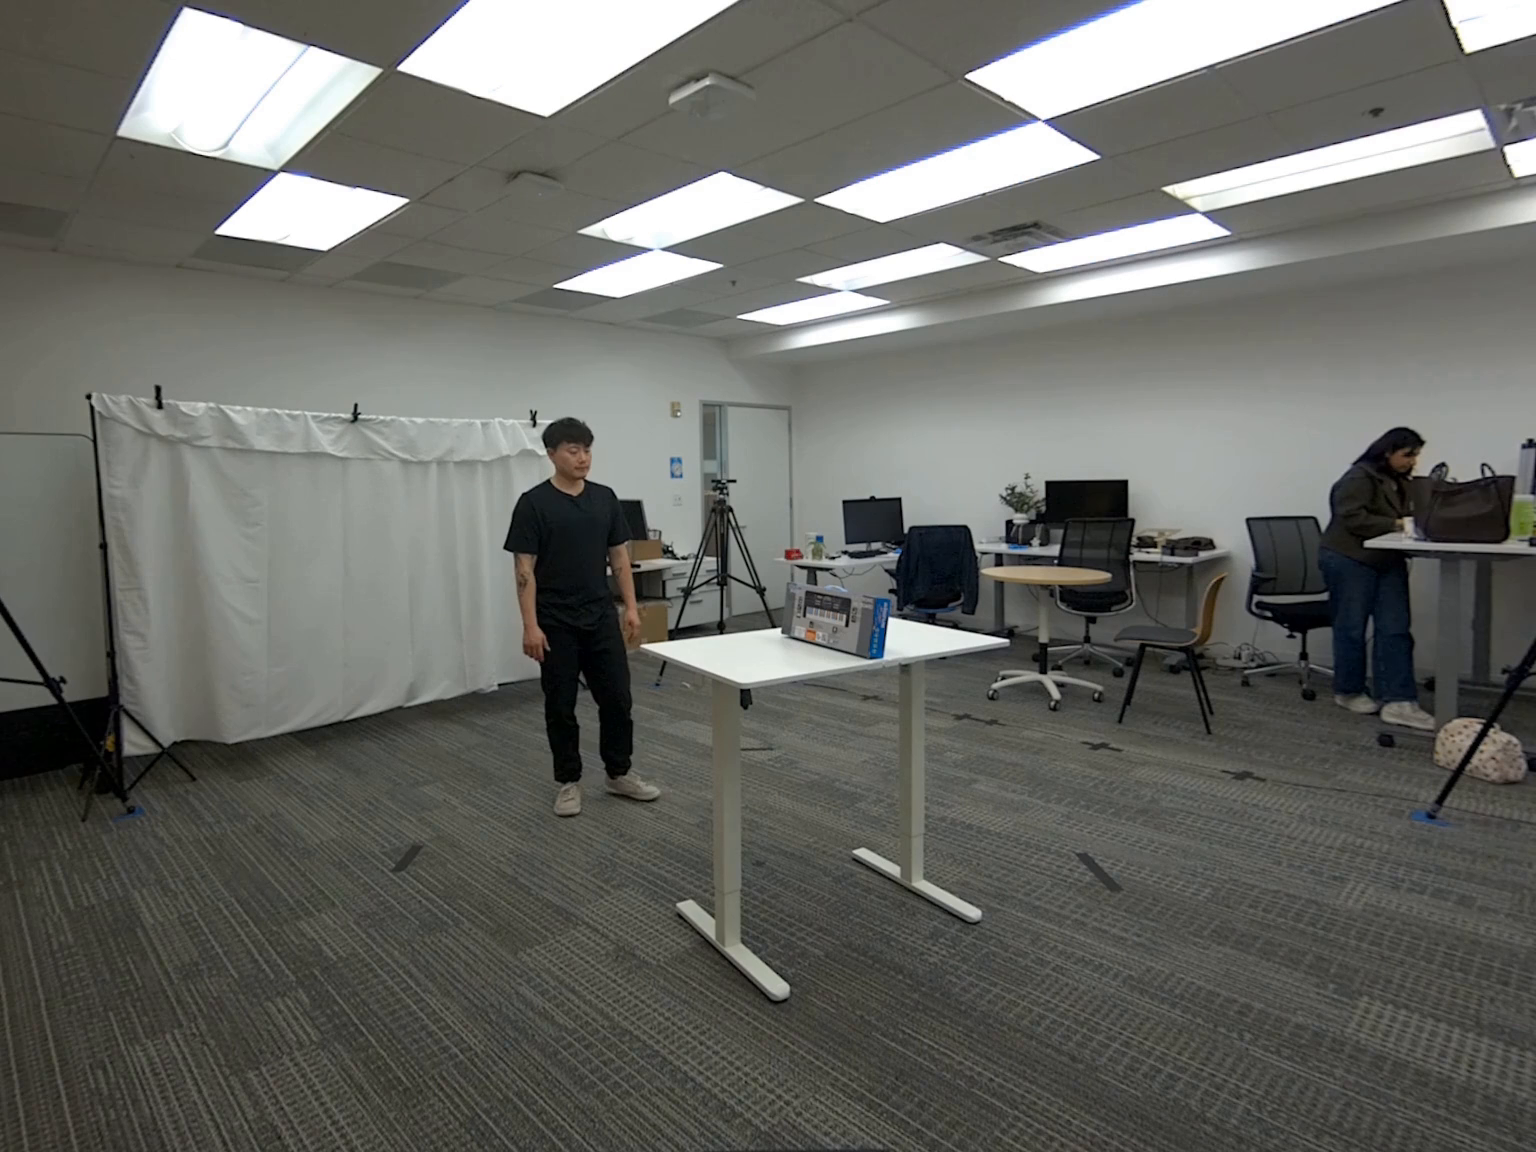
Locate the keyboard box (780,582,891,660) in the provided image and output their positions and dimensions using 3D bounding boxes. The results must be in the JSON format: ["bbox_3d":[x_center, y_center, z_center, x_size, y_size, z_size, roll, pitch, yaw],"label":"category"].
[{"bbox_3d":[0.200,0.129,2.610,0.057,0.176,0.449,6,2,-33],"label":"keyboard box"}]
